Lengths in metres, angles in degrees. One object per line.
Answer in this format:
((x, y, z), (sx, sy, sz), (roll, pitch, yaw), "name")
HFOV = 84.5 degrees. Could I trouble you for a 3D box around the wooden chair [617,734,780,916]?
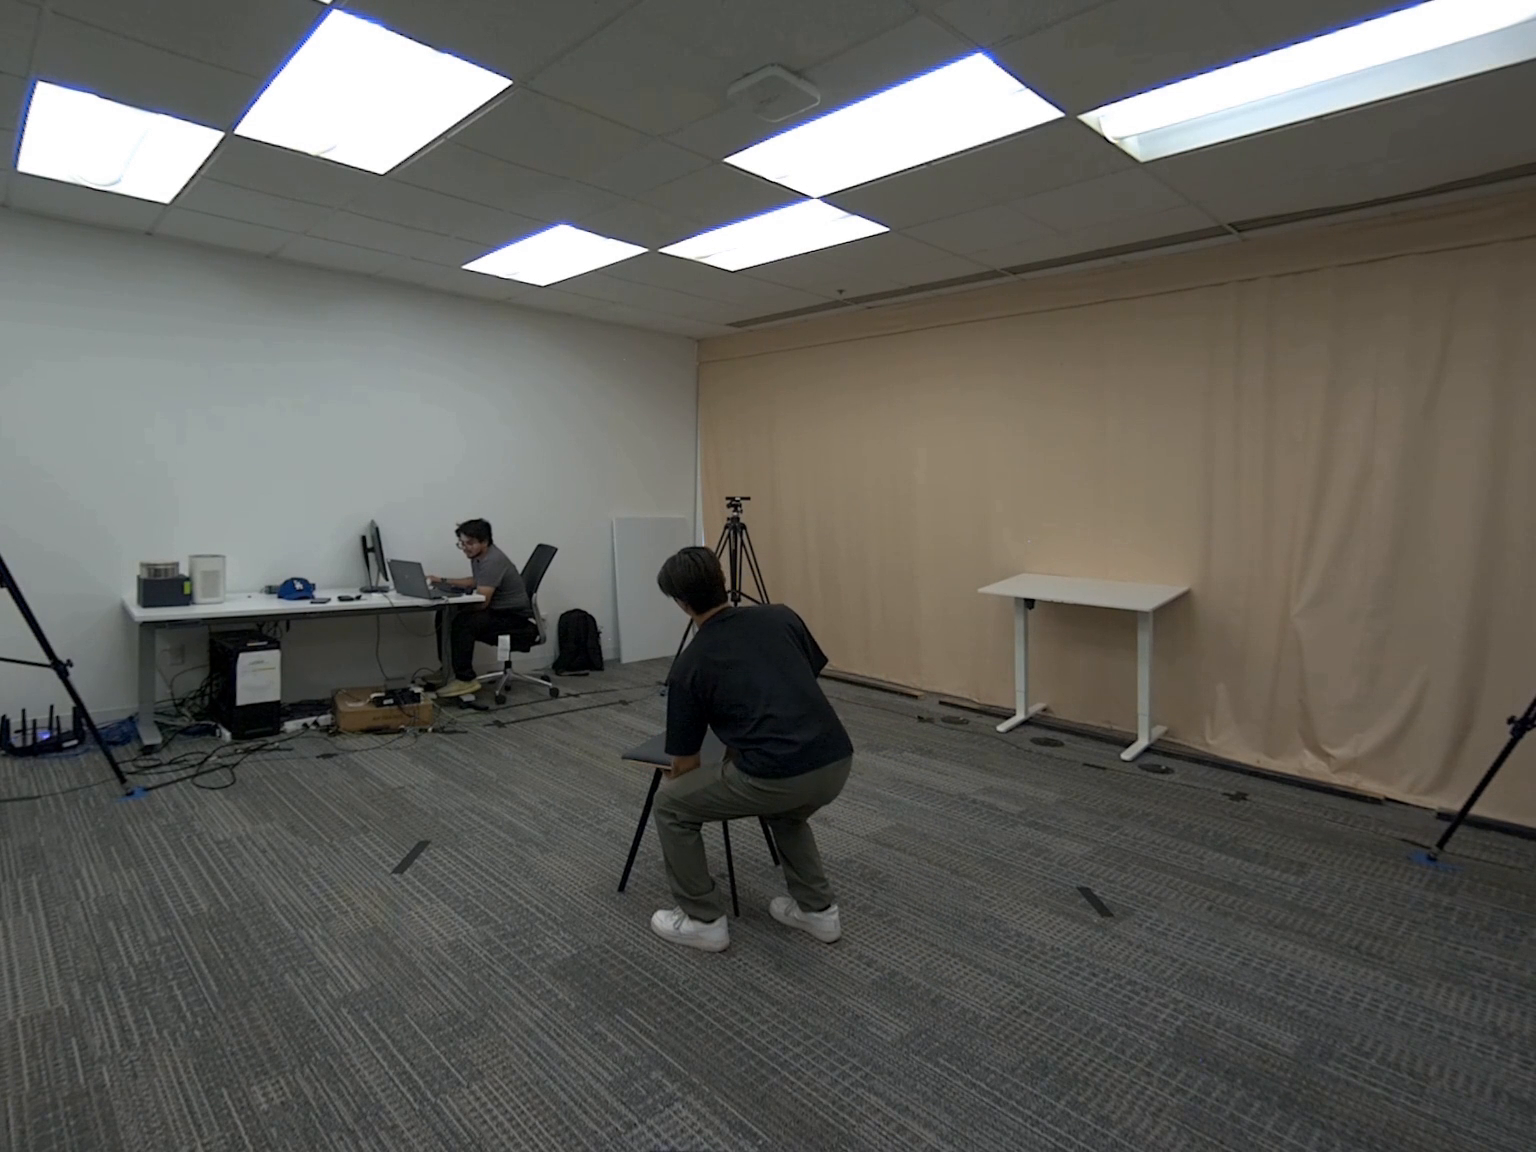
((-0.243, 0.683, 3.058), (0.532, 0.874, 0.471), (7, 5, 20), "wooden chair")
